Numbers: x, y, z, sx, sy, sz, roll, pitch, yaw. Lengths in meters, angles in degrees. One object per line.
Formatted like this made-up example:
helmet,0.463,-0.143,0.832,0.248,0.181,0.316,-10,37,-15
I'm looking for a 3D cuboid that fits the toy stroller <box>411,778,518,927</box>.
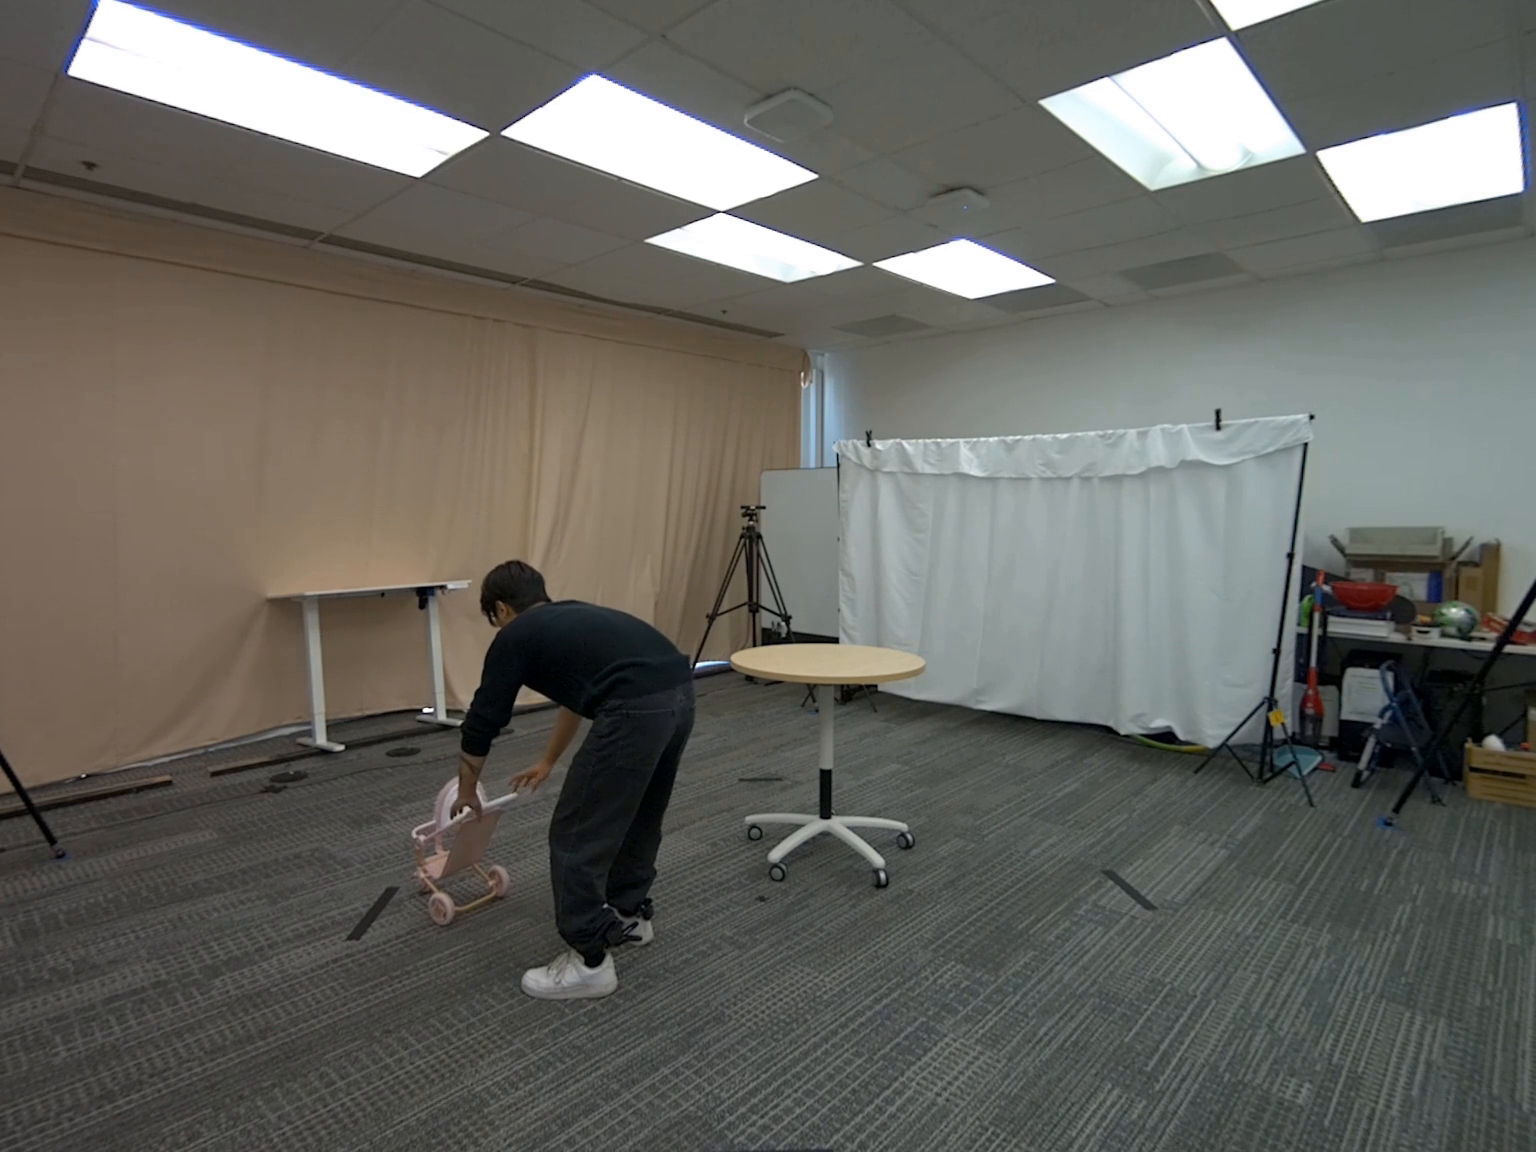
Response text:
toy stroller,-1.086,0.933,2.942,0.353,0.532,0.273,23,15,34
